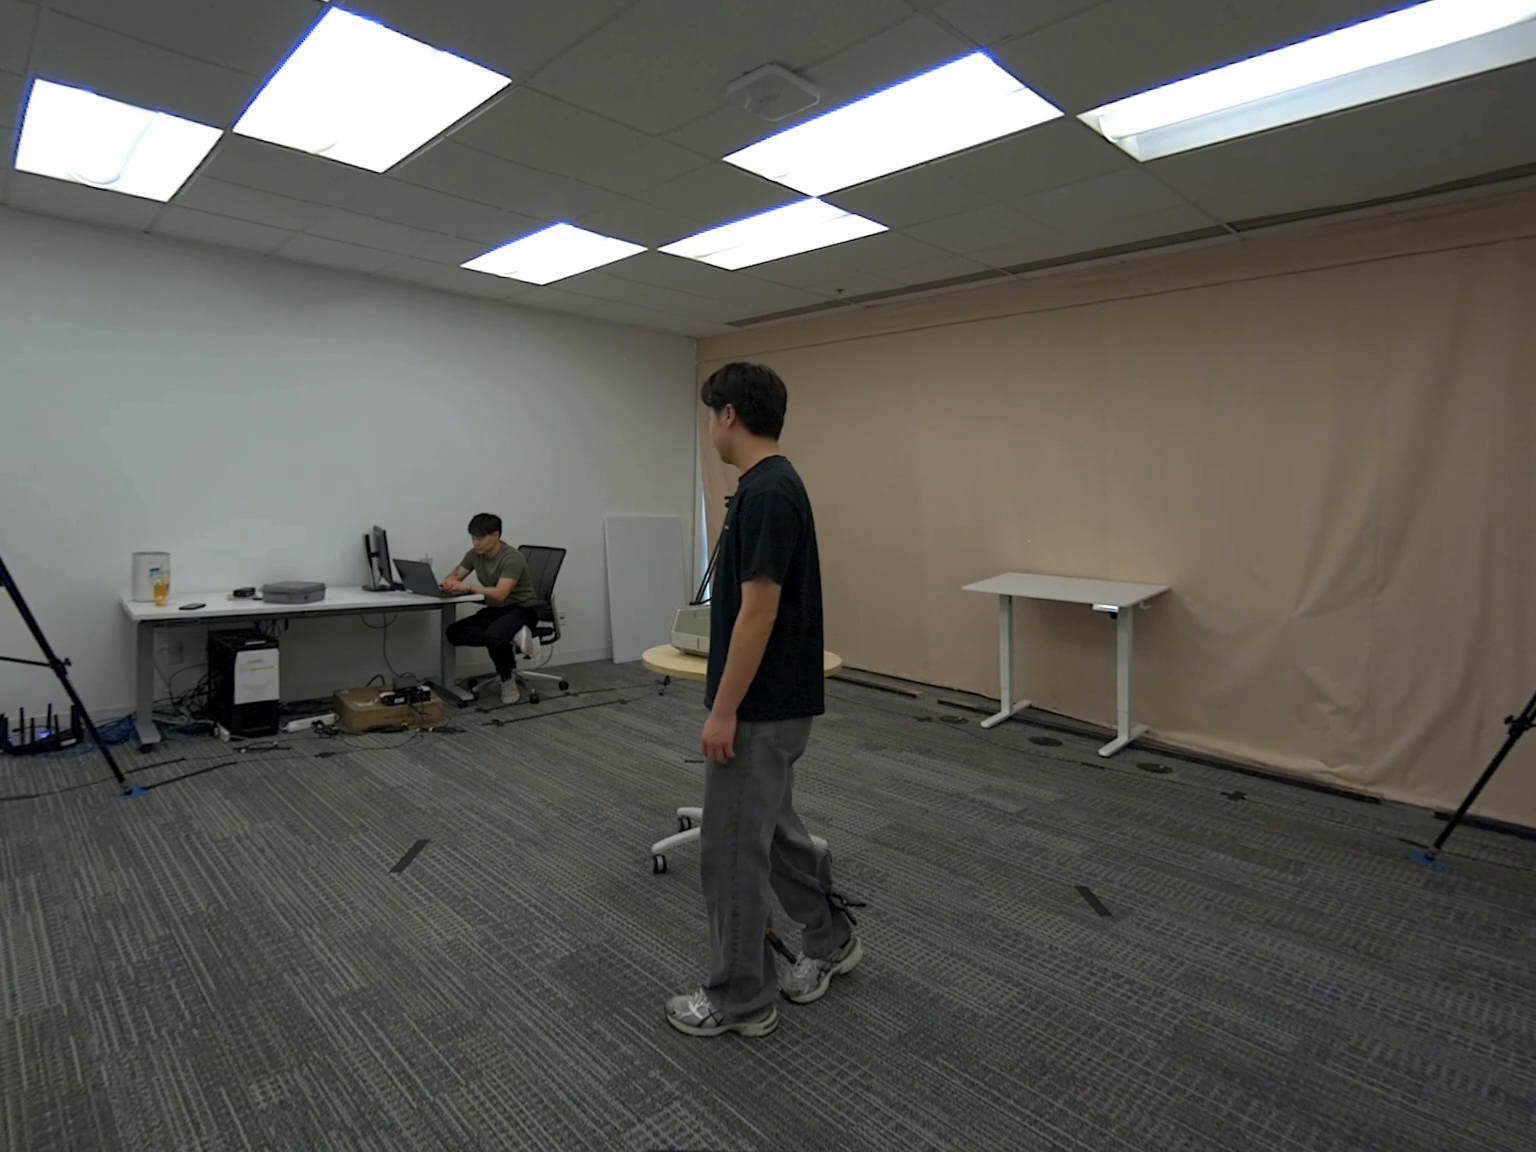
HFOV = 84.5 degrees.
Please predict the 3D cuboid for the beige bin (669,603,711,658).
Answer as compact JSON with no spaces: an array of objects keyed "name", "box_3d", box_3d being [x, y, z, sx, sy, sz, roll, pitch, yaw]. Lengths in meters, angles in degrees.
[{"name":"beige bin","box_3d":[-0.106,0.225,3.232,0.433,0.189,0.368,5,4,42]}]
